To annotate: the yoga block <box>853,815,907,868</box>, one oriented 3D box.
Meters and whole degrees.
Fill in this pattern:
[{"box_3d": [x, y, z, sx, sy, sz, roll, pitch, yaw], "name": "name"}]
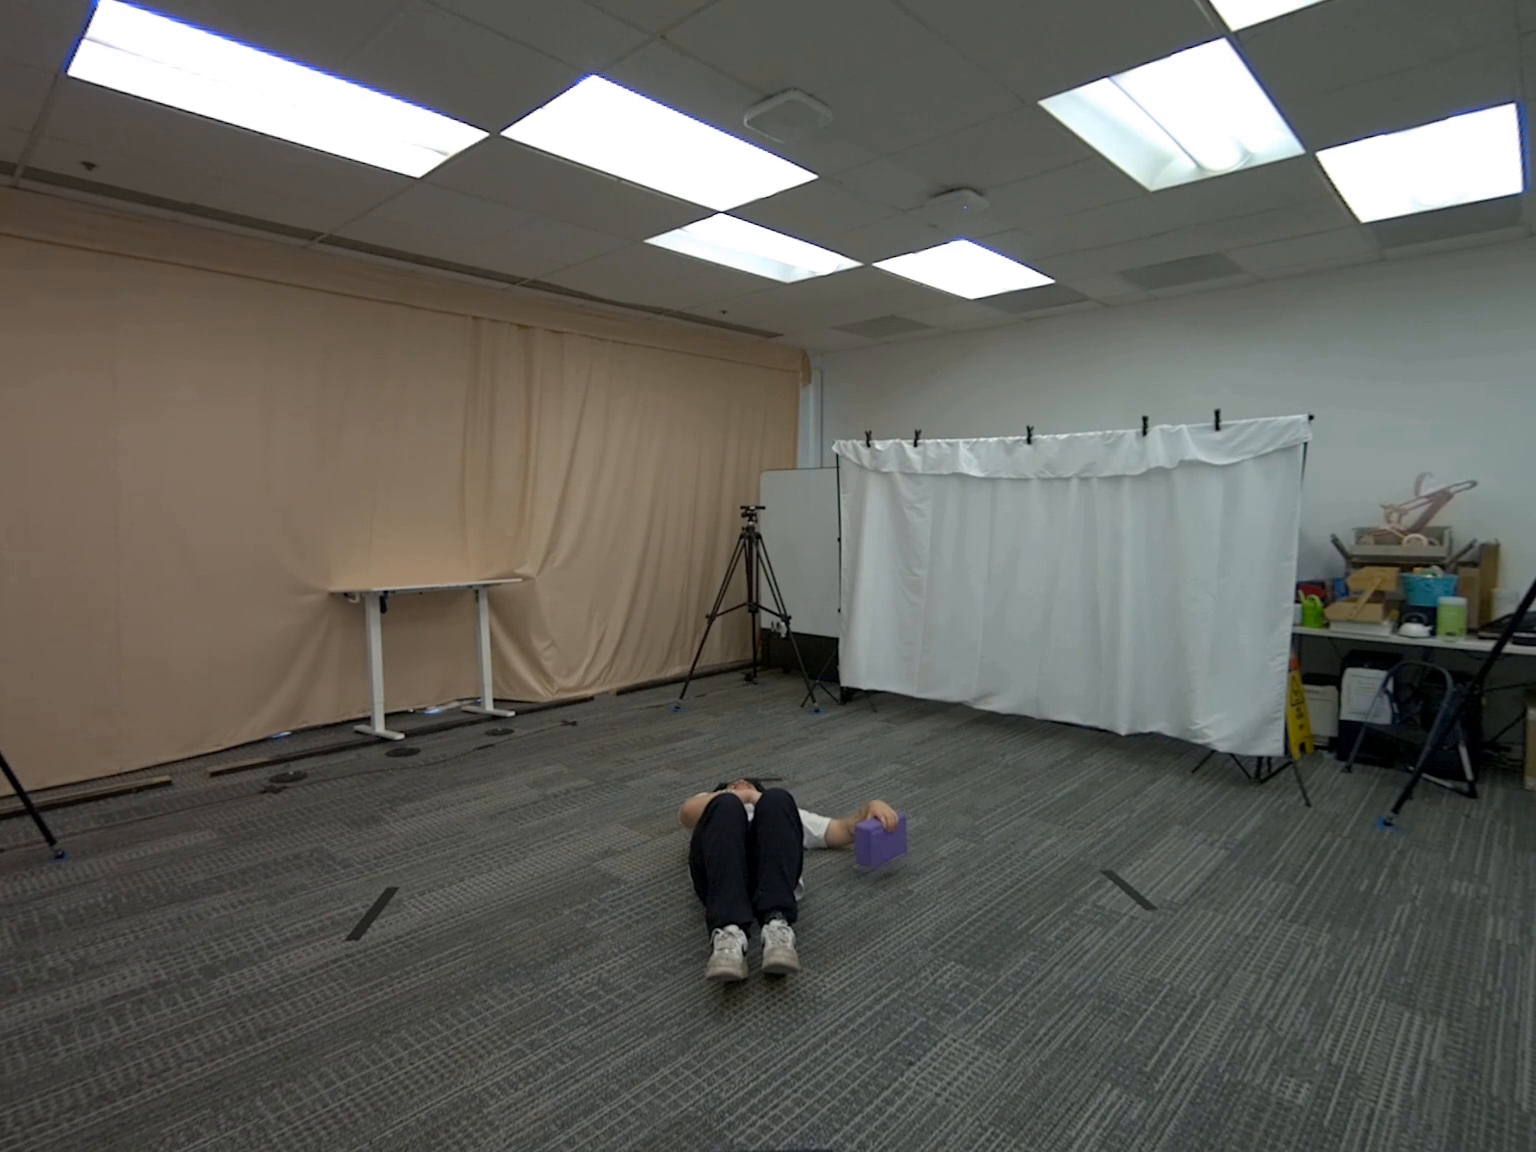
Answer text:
[{"box_3d": [0.428, 0.980, 3.146, 0.222, 0.149, 0.079, -1, 2, -43], "name": "yoga block"}]
